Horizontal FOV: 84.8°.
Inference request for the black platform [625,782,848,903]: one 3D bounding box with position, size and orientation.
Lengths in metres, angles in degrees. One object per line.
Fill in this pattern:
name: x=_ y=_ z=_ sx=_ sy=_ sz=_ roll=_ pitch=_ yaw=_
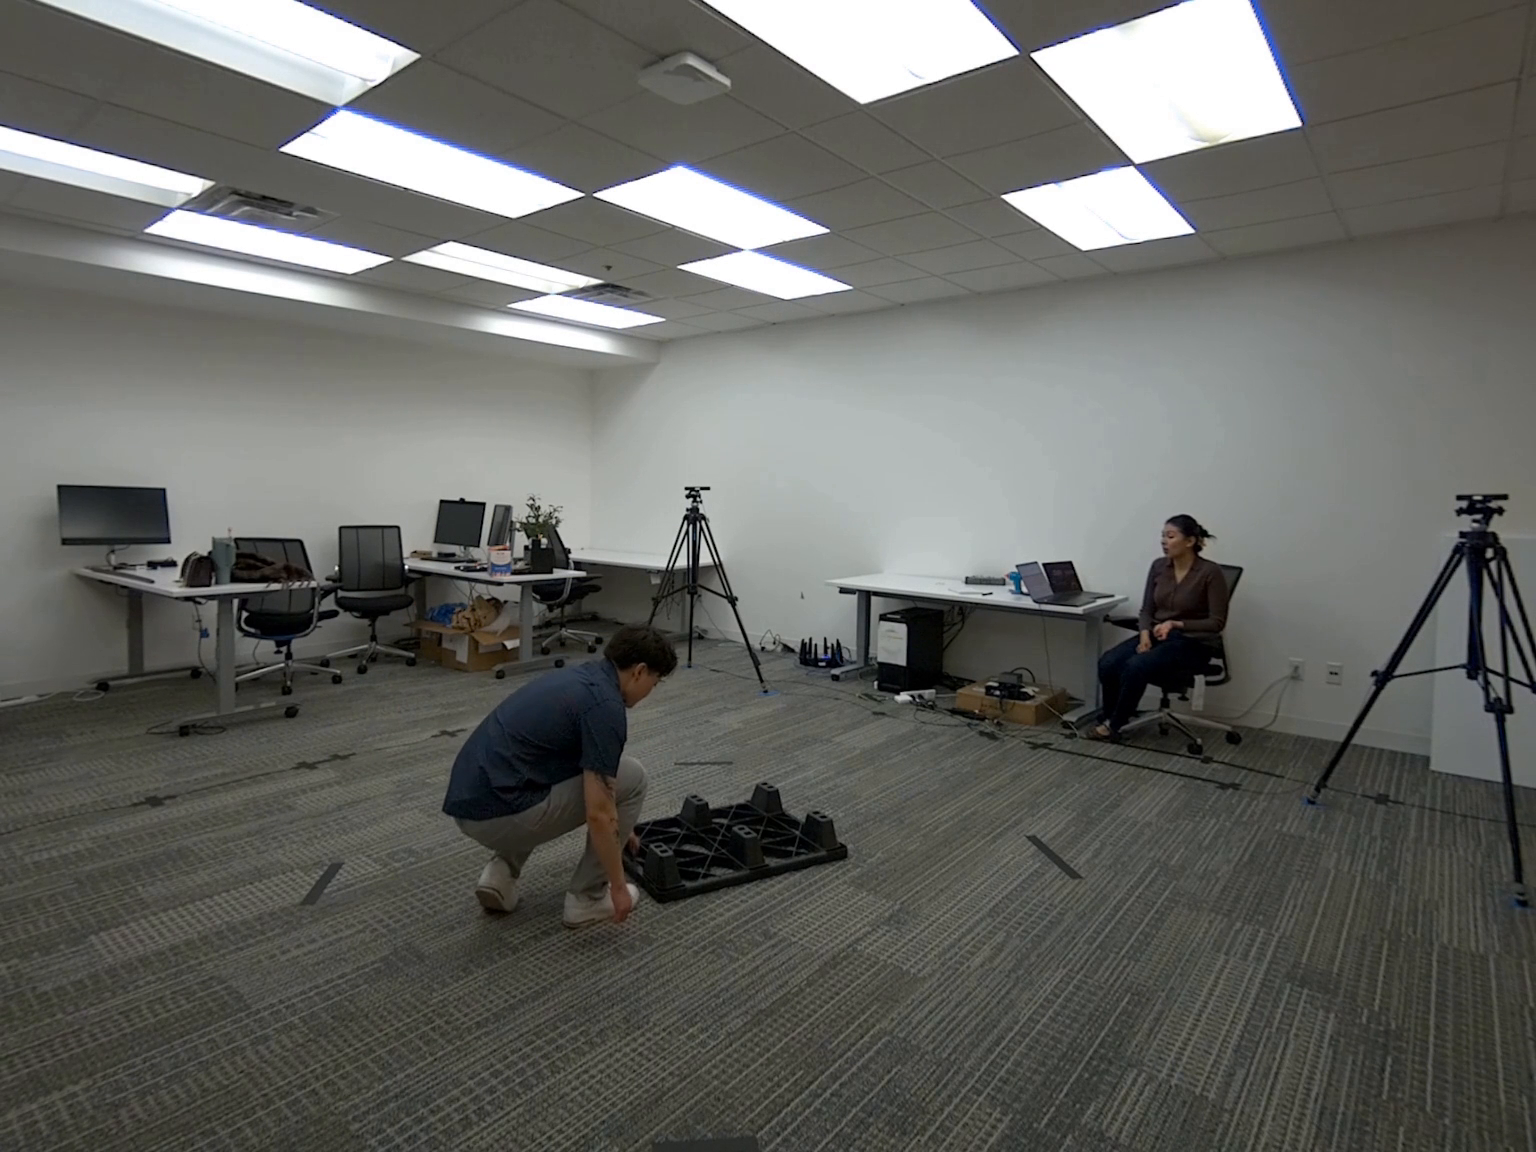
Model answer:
black platform: x=-0.195 y=0.982 z=3.270 sx=0.784 sy=0.143 sz=0.624 roll=-3 pitch=7 yaw=-32
